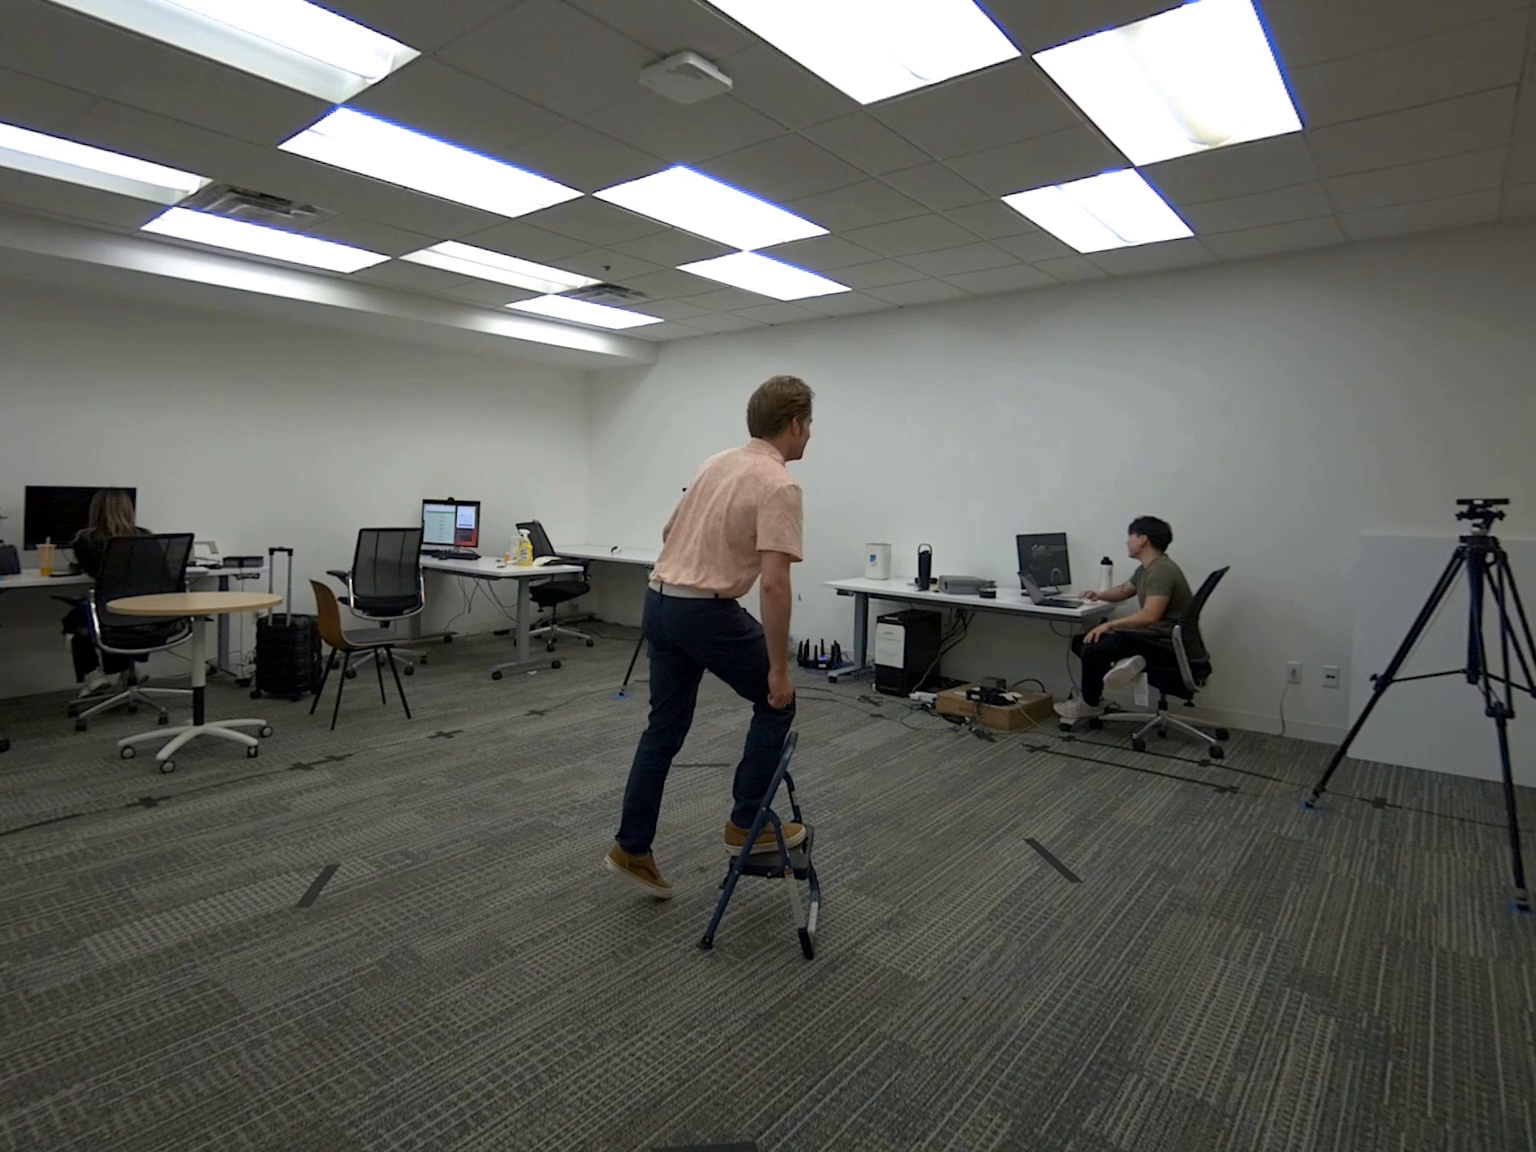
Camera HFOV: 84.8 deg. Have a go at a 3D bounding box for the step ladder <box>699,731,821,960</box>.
[{"bbox_3d":[-0.011,0.811,2.730,0.352,0.604,0.428,2,4,7],"label":"step ladder"}]
